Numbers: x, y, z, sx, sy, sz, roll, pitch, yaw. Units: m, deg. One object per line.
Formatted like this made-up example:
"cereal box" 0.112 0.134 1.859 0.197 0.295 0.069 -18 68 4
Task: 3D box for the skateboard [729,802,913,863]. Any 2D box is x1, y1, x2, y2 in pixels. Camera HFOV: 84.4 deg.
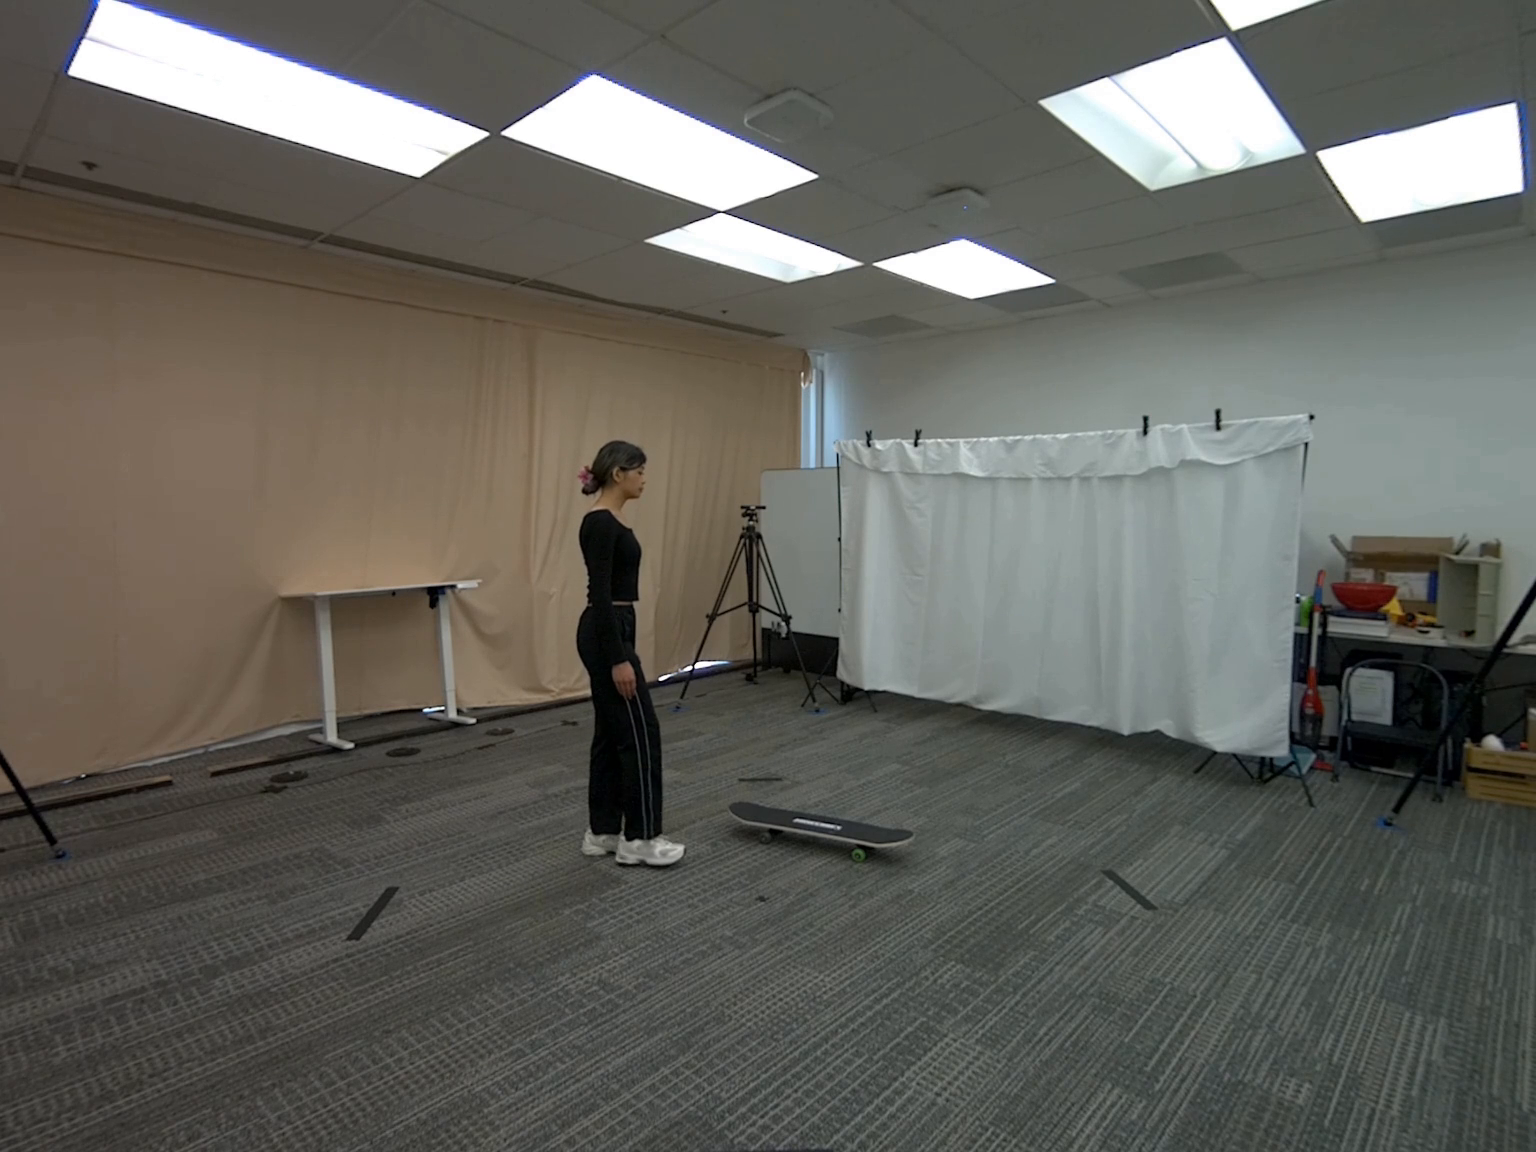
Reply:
"skateboard" 0.208 1.046 3.442 0.806 0.110 0.189 2 5 25
